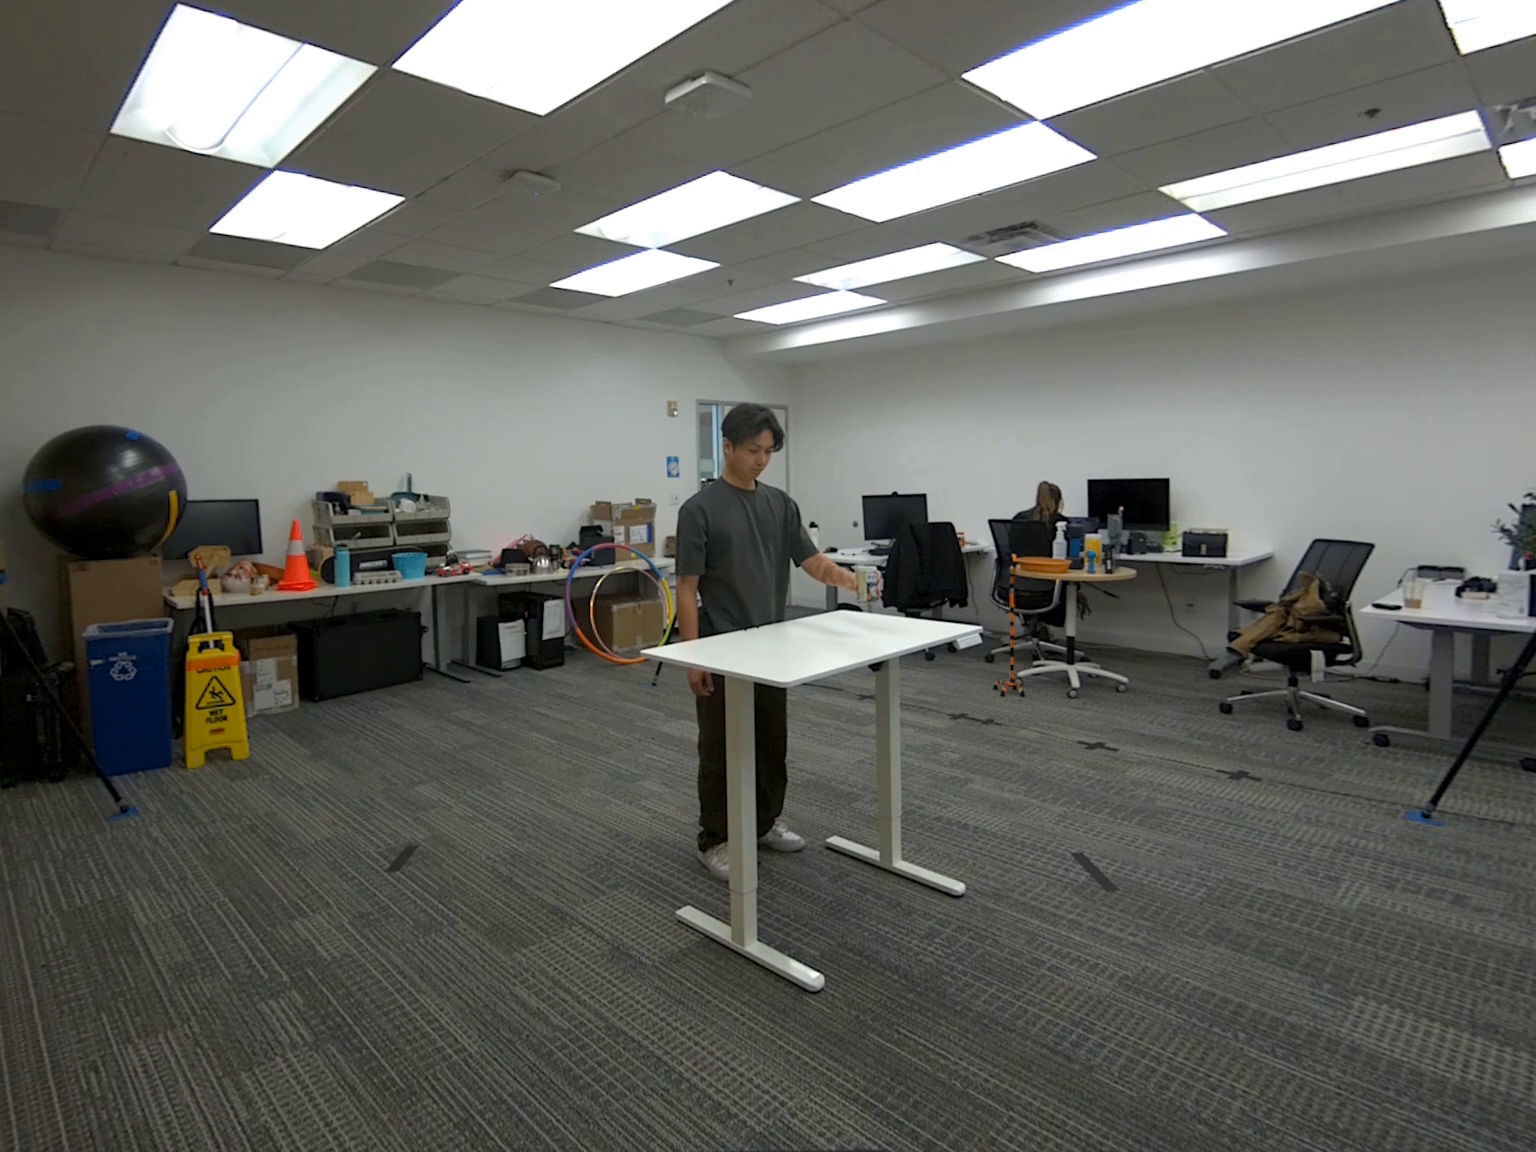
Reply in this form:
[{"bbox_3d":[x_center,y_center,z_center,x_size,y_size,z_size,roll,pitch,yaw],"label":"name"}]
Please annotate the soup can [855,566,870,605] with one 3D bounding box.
[{"bbox_3d":[0.312,0.028,2.794,0.067,0.122,0.067,-1,-2,-2],"label":"soup can"}]
